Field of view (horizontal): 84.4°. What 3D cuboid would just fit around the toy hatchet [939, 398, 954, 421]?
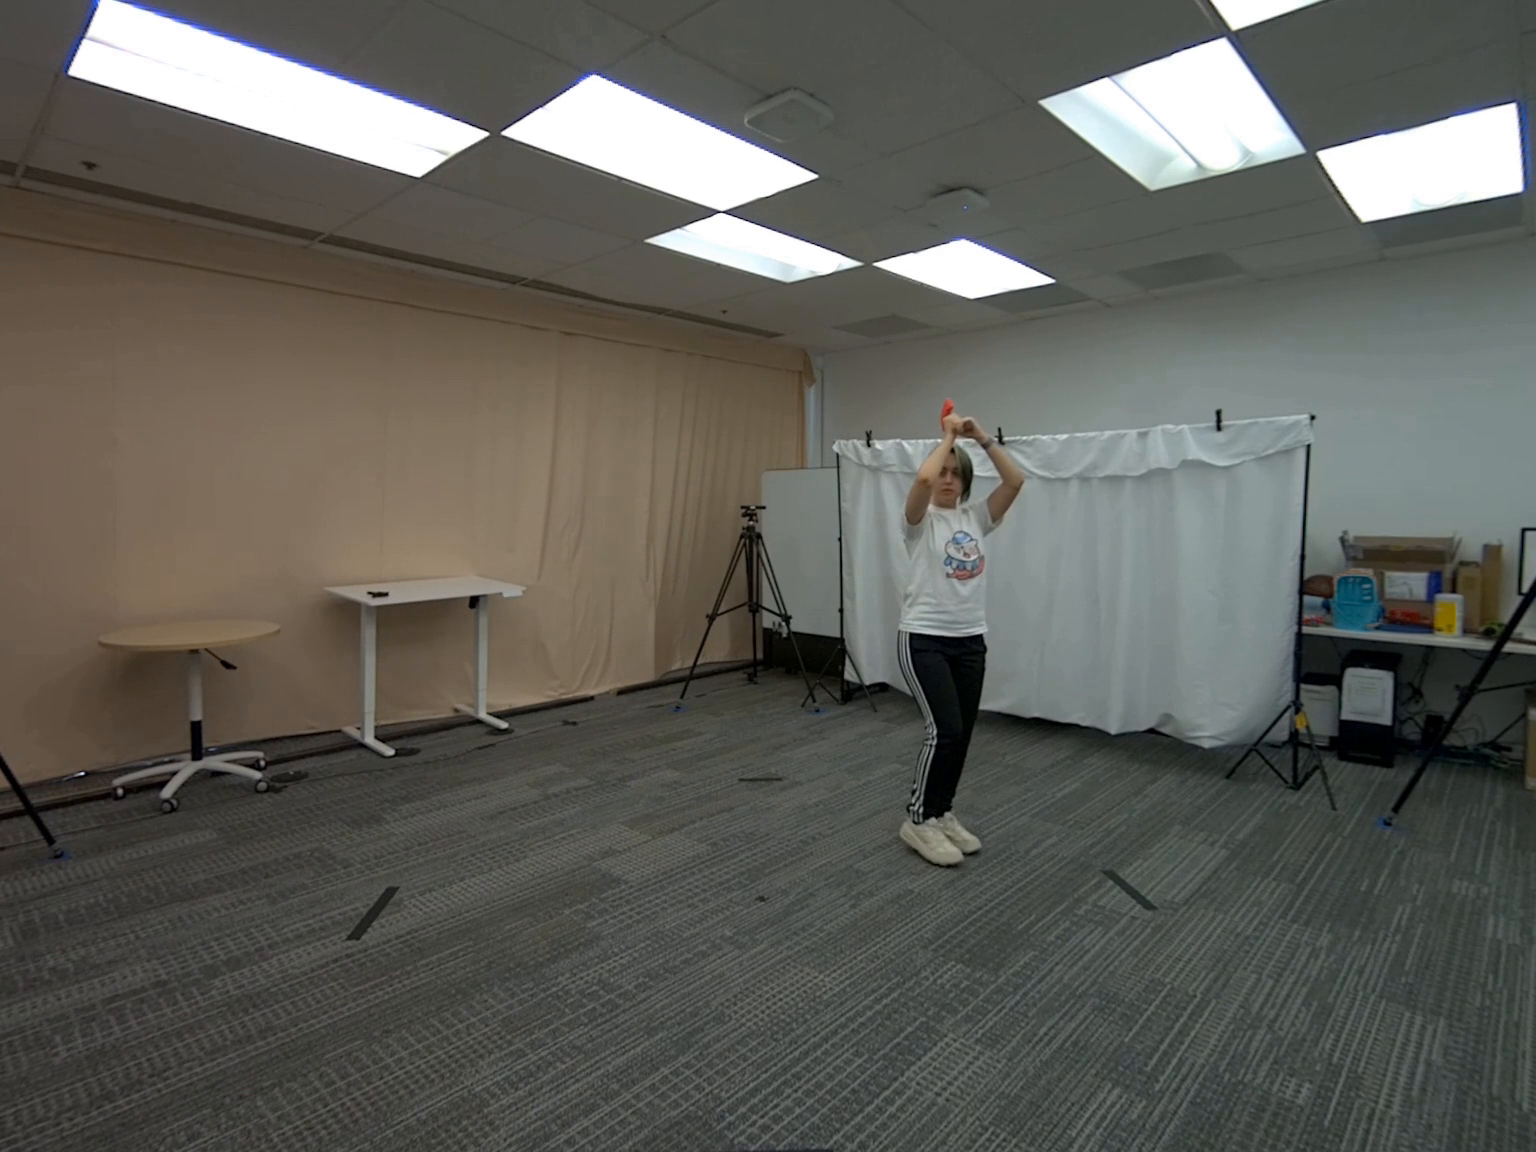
[{"bbox_3d":[0.744,-0.635,3.277,0.029,0.130,0.274,-2,7,-11],"label":"toy hatchet"}]
